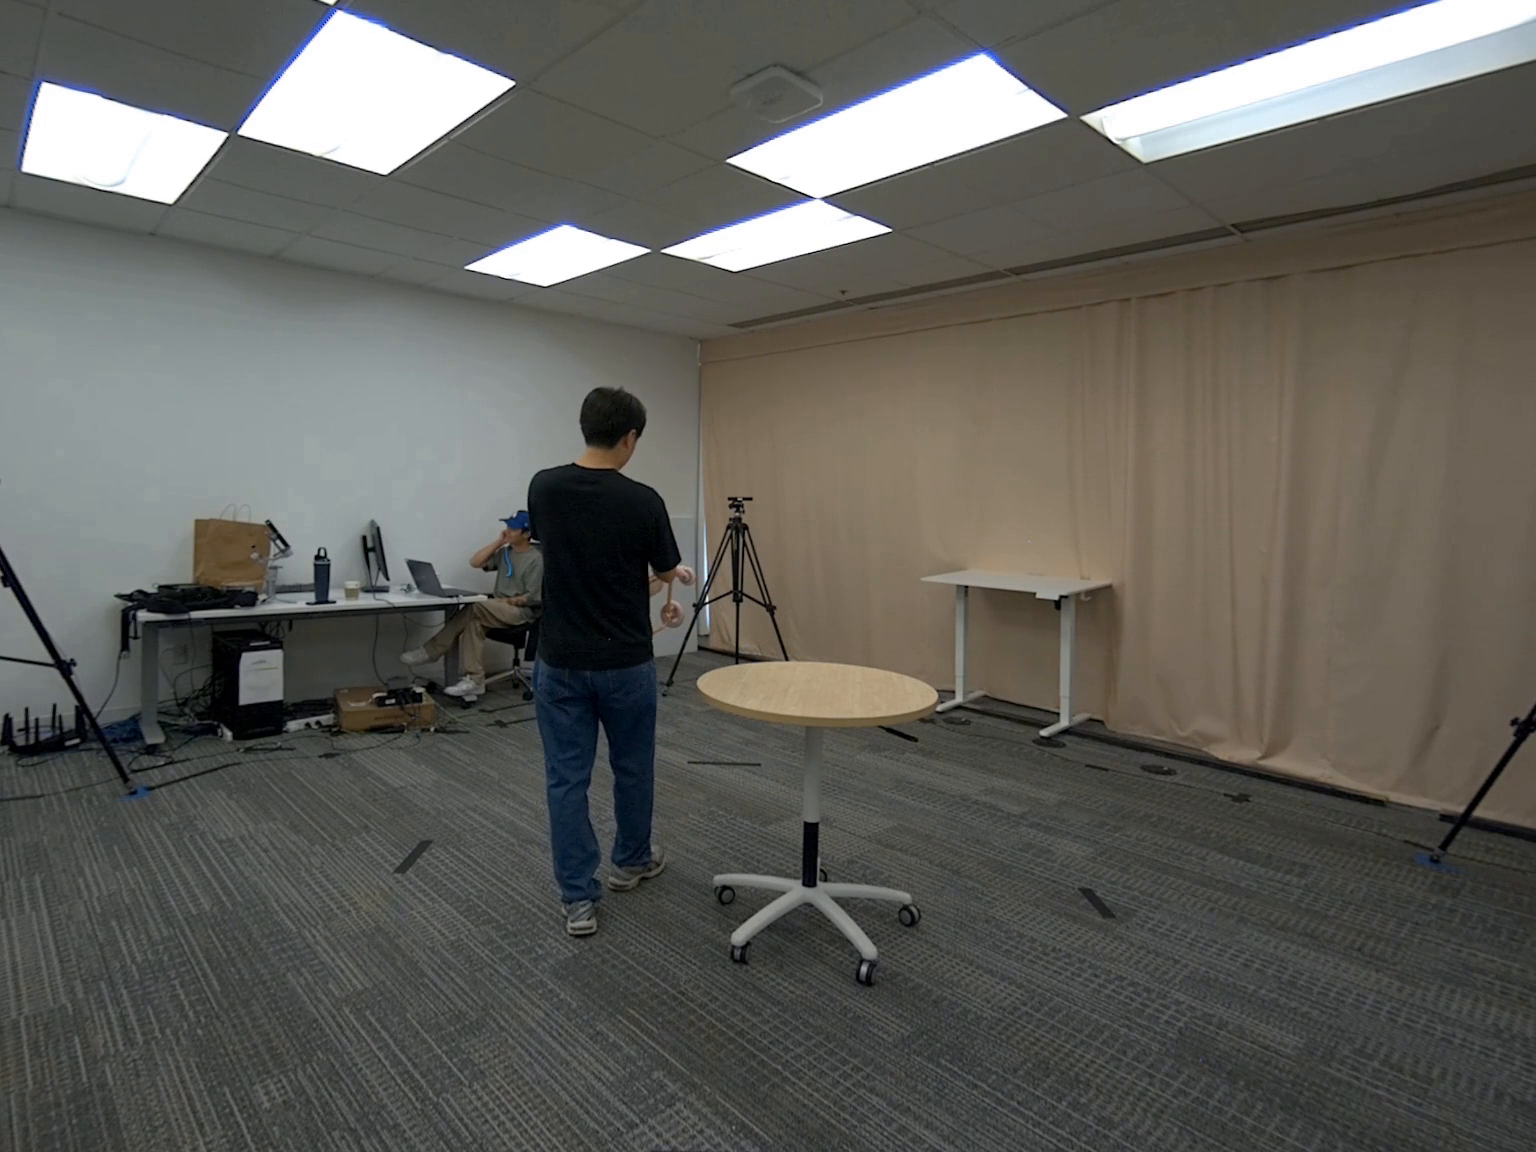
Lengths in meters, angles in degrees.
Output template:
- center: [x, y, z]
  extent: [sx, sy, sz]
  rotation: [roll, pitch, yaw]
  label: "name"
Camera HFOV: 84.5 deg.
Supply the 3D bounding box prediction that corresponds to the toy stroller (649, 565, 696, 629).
- center: [-0.521, 0.022, 3.243]
  extent: [0.547, 0.337, 0.278]
  rotation: [26, 27, 23]
  label: "toy stroller"
